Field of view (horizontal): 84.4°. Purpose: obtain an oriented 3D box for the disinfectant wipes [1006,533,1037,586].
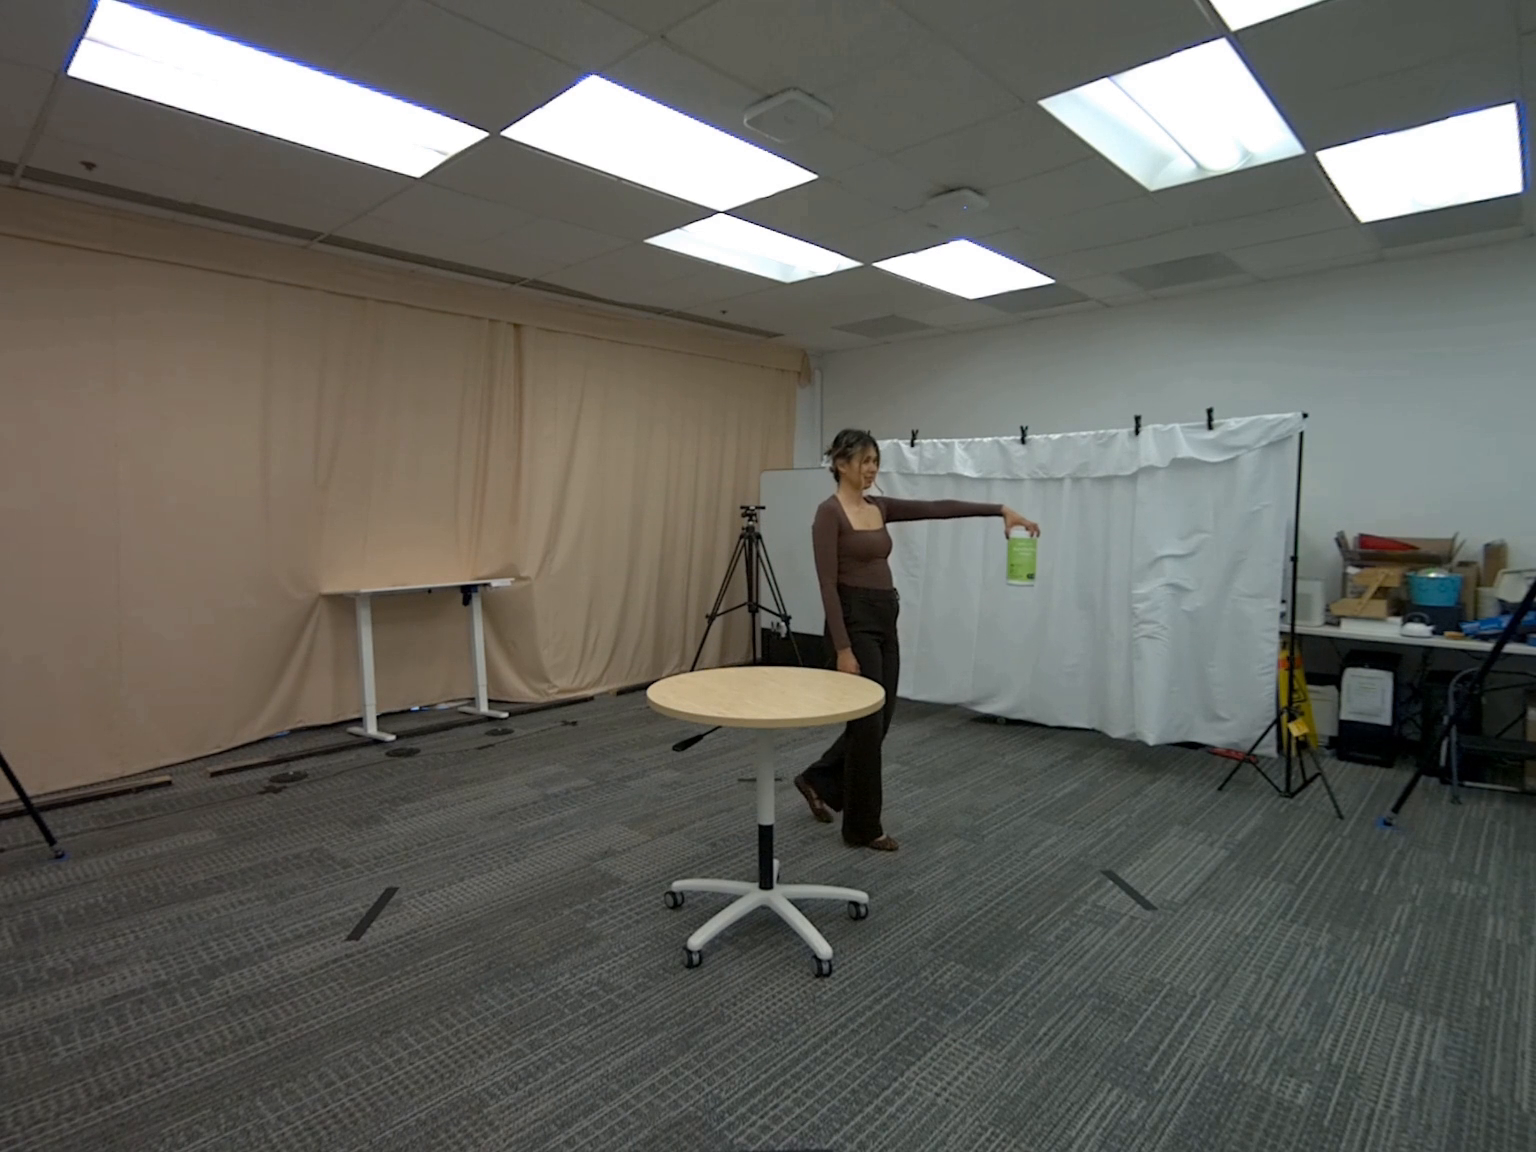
[{"bbox_3d":[1.003,-0.067,3.305,0.117,0.217,0.118,1,4,-2],"label":"disinfectant wipes"}]
